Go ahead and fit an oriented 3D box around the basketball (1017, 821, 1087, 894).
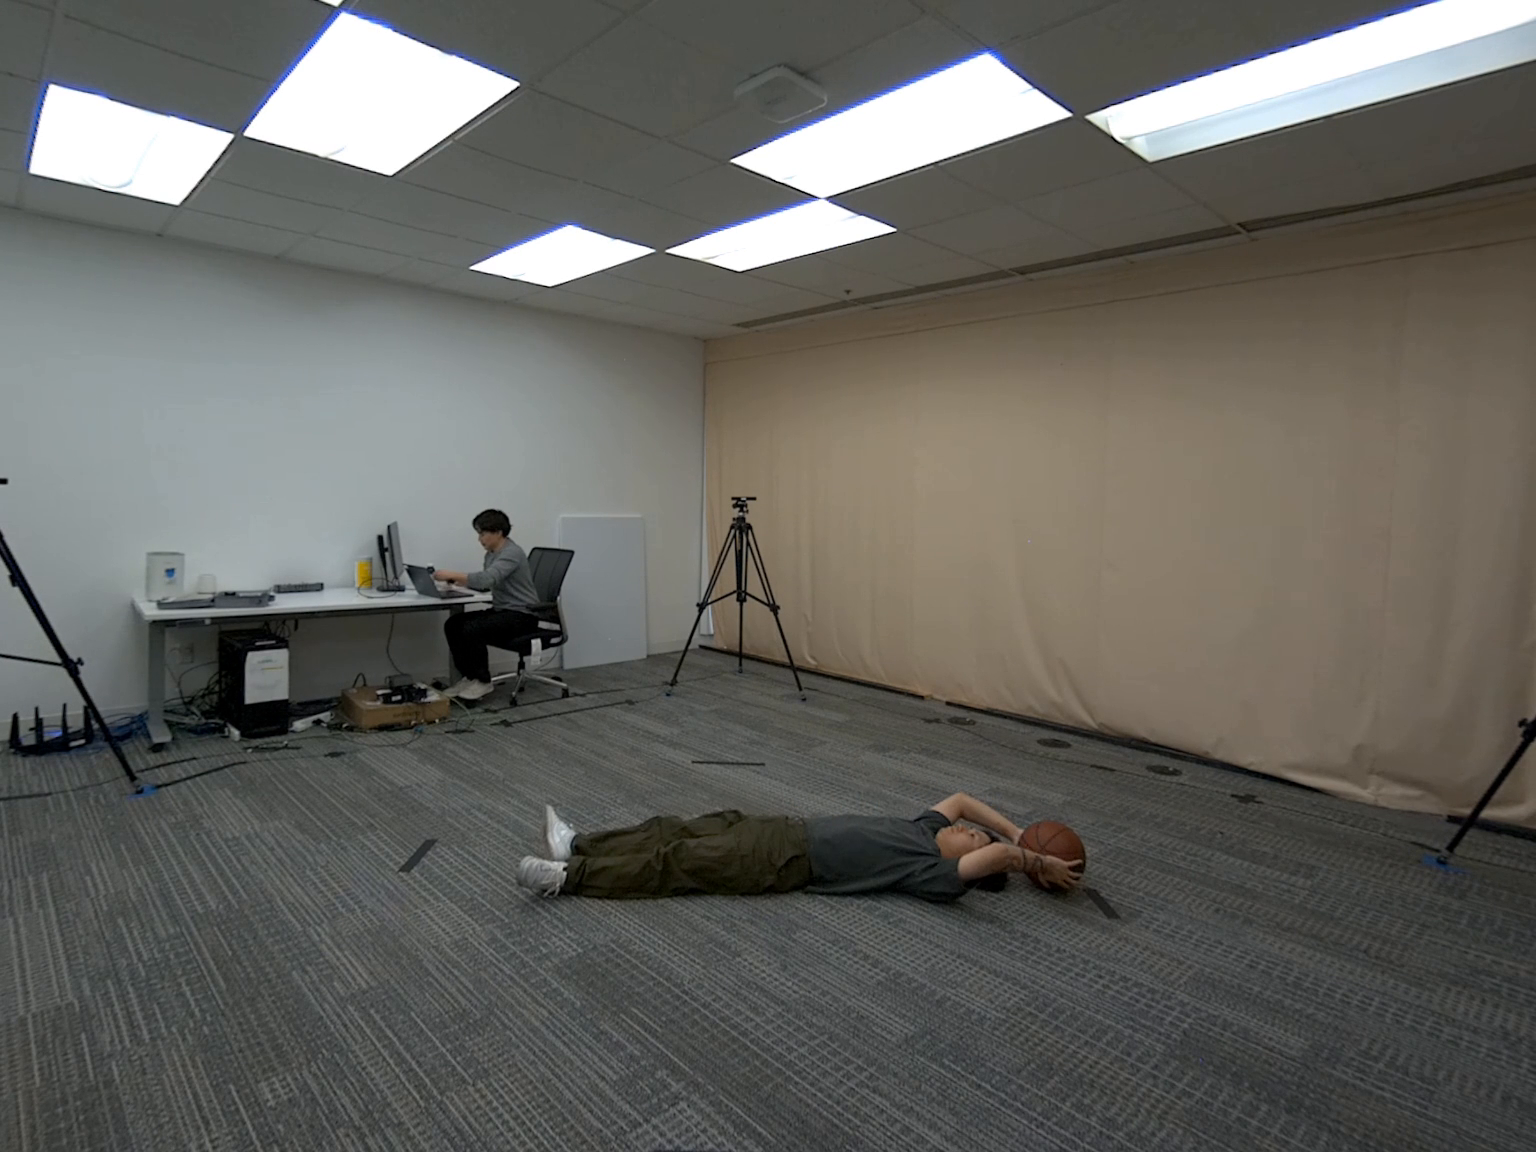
[{"bbox_3d":[1.036,1.020,3.085,0.236,0.235,0.237,1,4,-1],"label":"basketball"}]
